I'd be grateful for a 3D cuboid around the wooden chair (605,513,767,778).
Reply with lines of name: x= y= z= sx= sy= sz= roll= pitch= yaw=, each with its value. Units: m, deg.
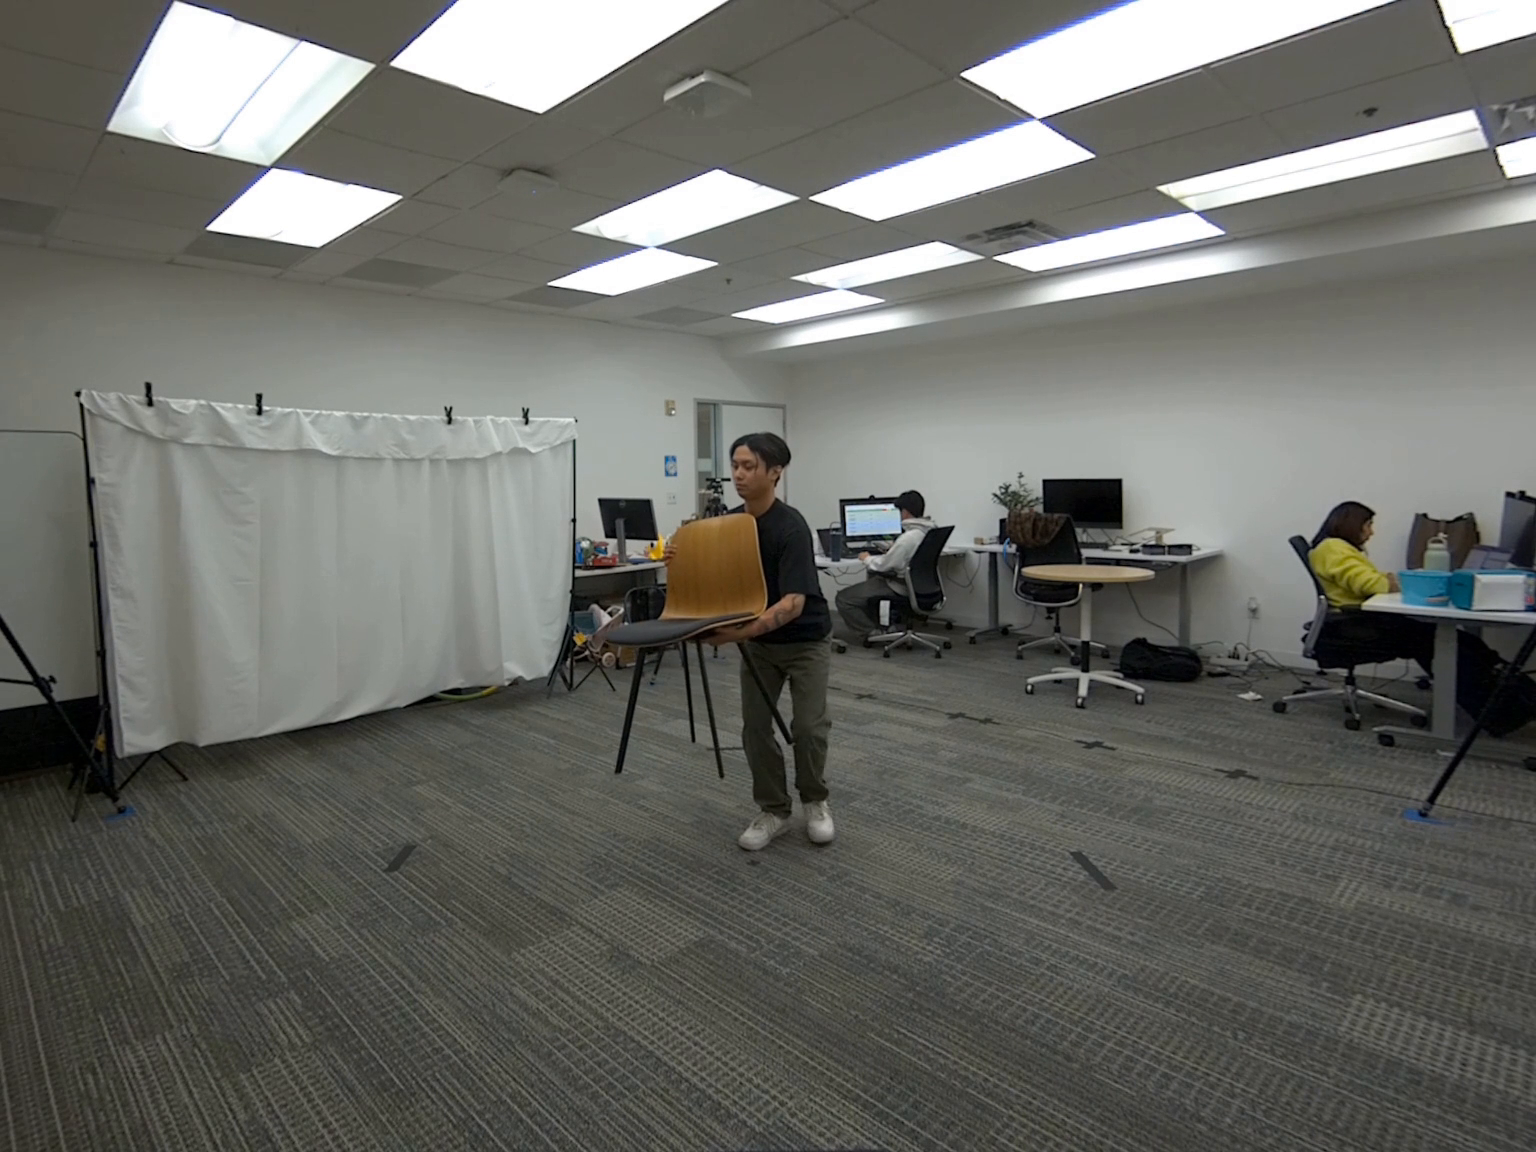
wooden chair: x=-0.274 y=0.219 z=2.972 sx=0.489 sy=0.882 sz=0.508 roll=-8 pitch=-6 yaw=33
